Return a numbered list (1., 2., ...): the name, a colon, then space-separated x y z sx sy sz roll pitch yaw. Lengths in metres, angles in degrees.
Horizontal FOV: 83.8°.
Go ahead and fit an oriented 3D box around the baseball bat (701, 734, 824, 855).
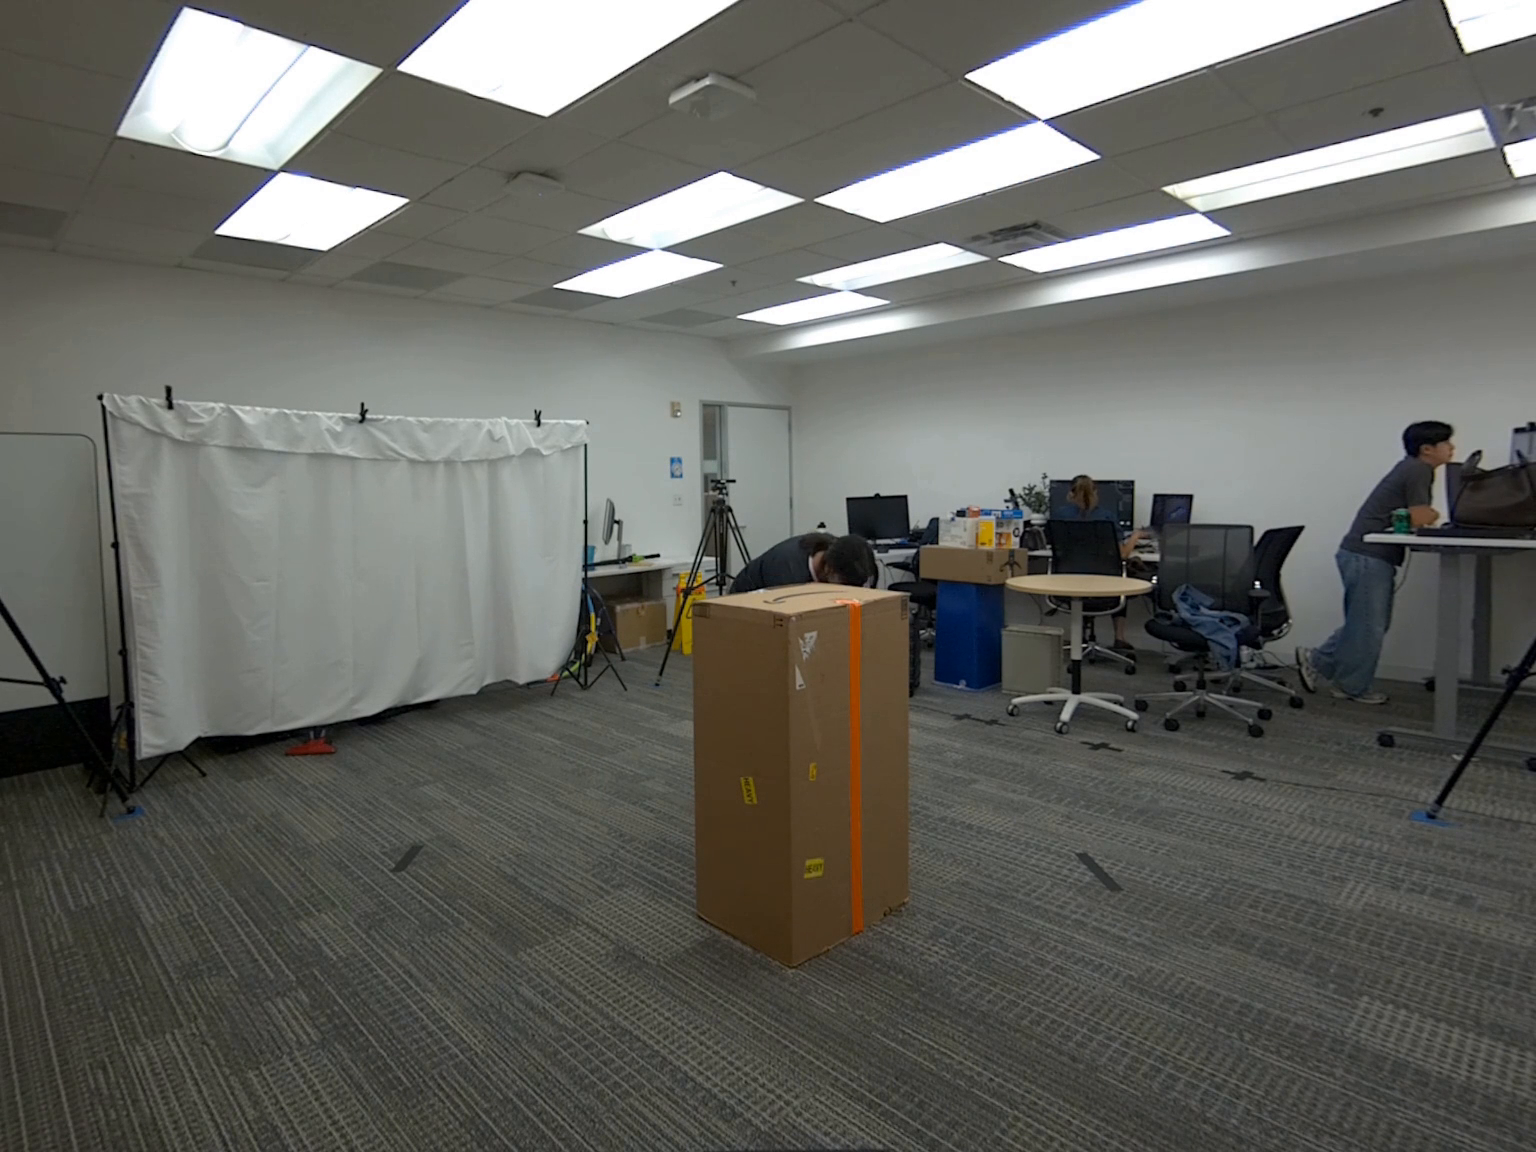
1. baseball bat: -0.019 0.844 3.353 0.541 0.087 0.091 -41 20 -19
